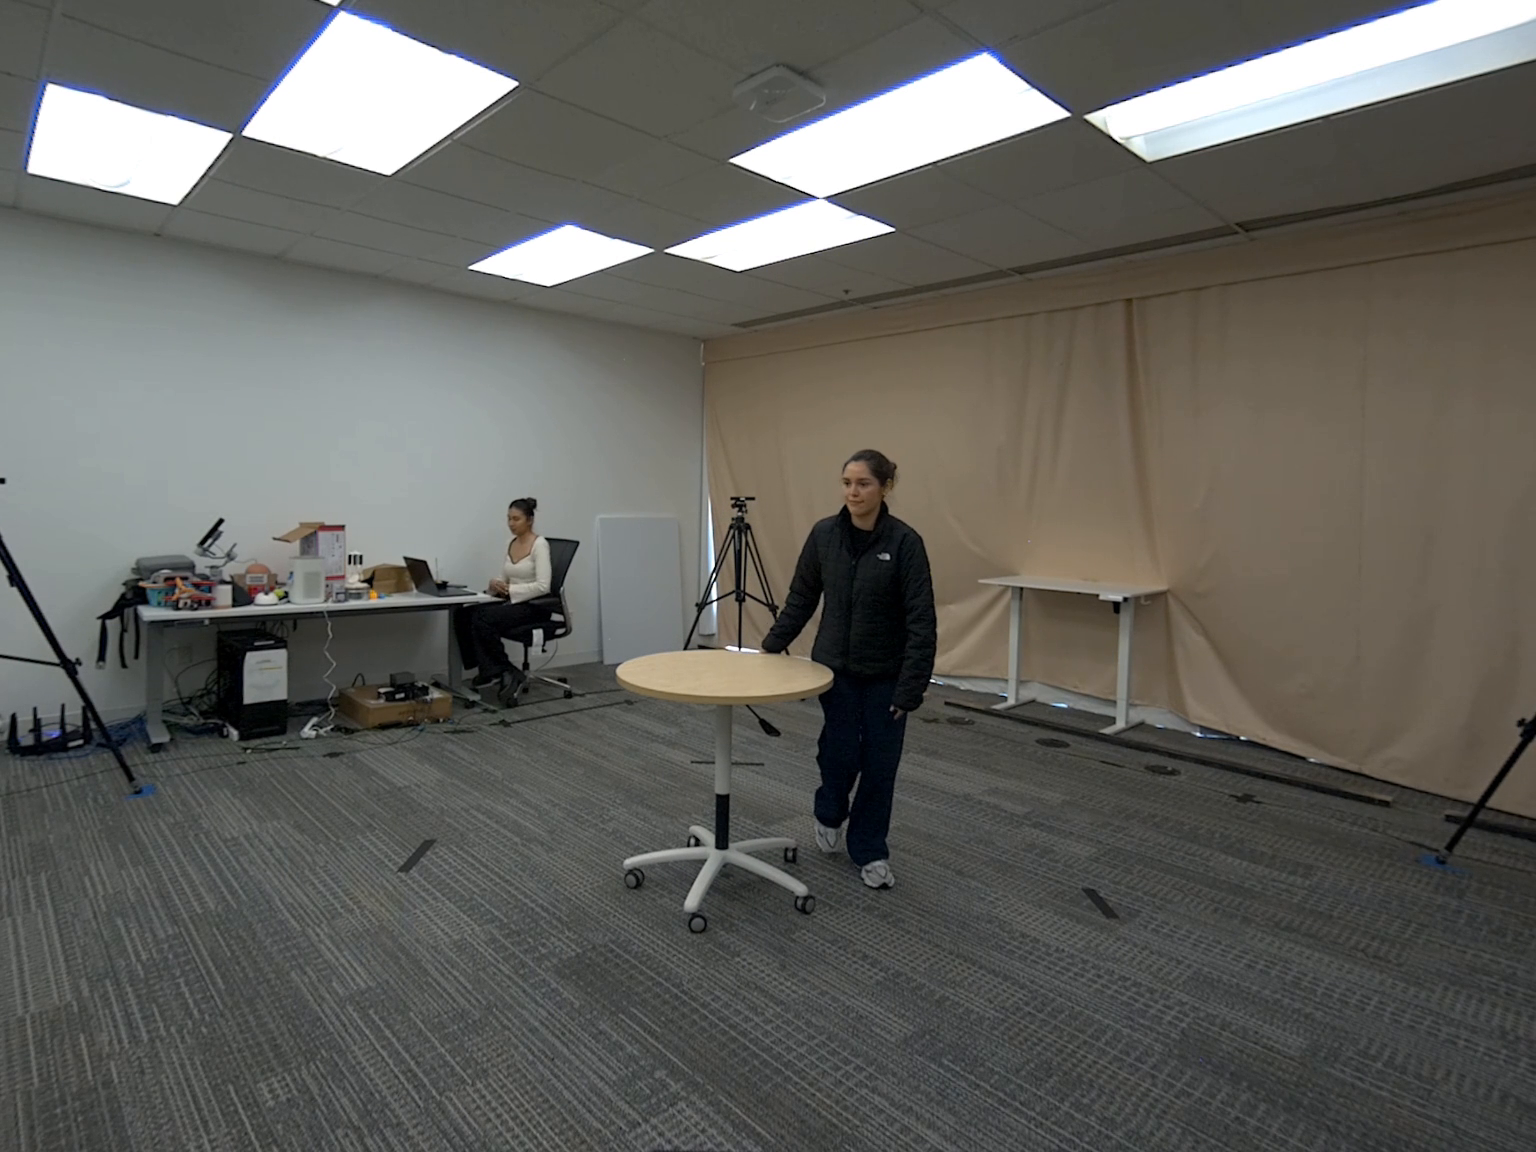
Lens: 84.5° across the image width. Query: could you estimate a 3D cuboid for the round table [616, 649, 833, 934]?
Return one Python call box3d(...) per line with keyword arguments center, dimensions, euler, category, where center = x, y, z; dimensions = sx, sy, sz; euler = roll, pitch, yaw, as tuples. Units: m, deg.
box3d(center=(-0.168, 0.724, 2.976), dimensions=(0.784, 0.784, 0.788), euler=(1, 4, -1), category="round table")
